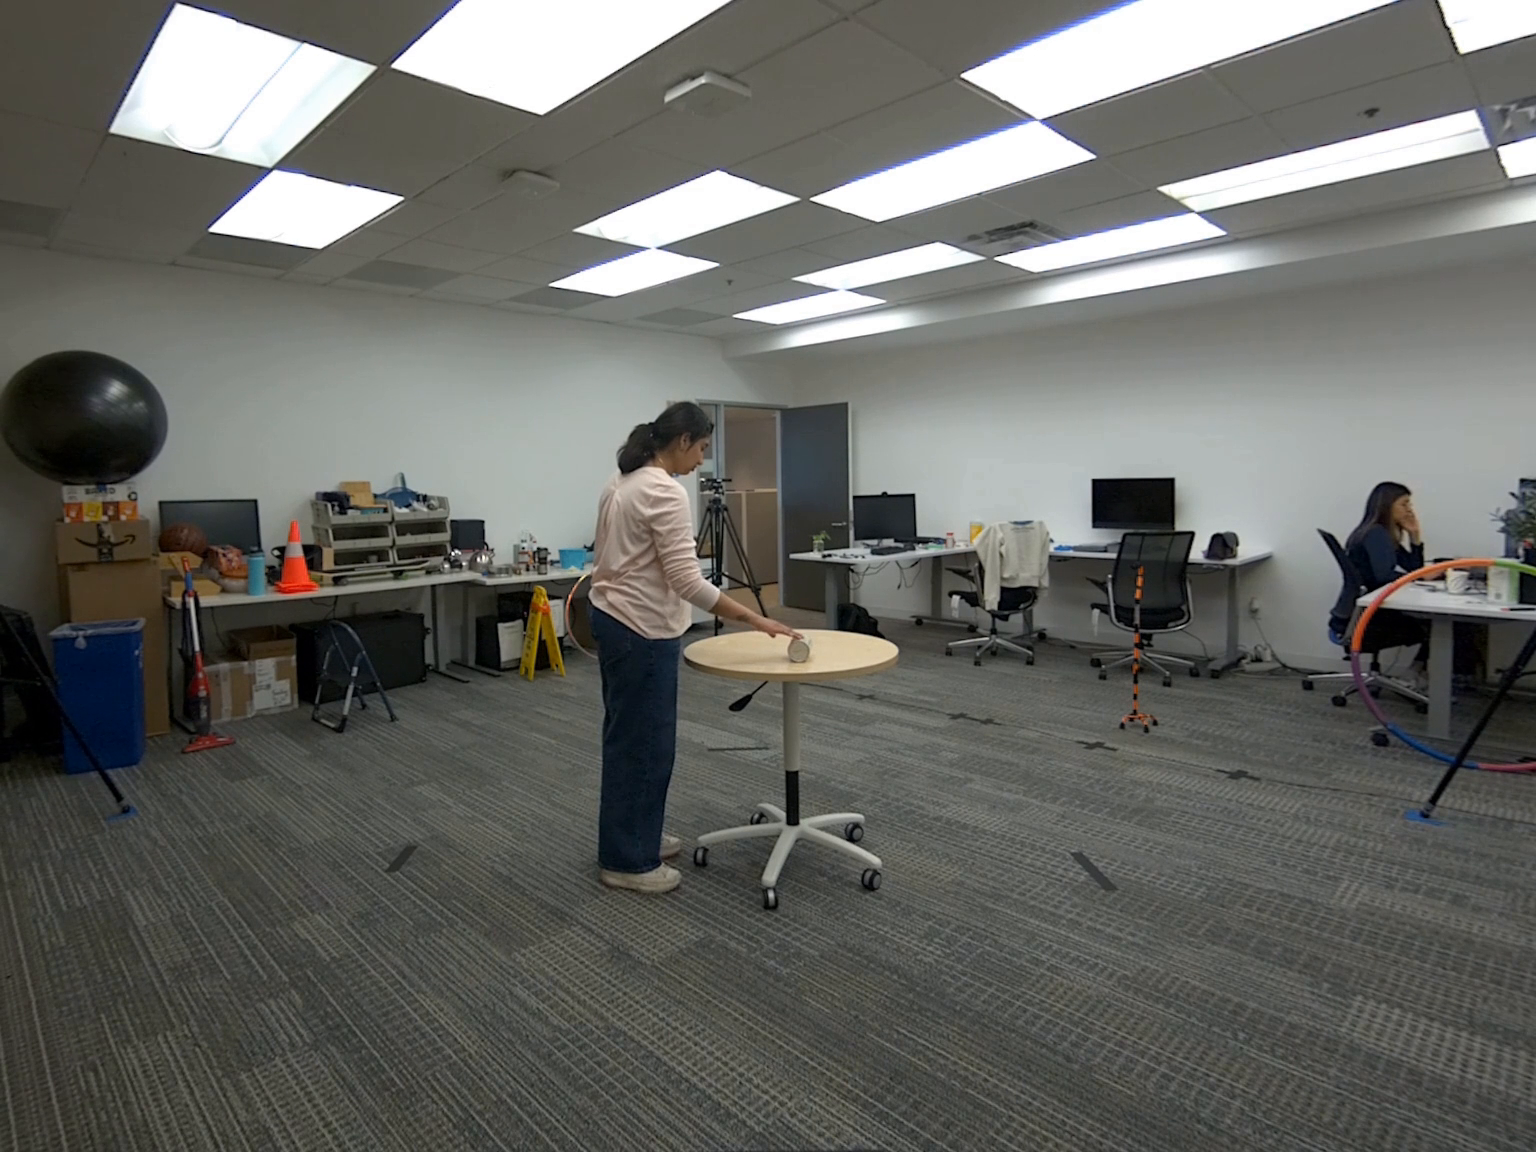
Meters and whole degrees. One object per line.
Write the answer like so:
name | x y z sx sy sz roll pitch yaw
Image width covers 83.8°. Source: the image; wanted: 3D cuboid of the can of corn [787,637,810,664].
can of corn | 0.108 0.242 2.885 0.074 0.074 0.111 -1 8 3
